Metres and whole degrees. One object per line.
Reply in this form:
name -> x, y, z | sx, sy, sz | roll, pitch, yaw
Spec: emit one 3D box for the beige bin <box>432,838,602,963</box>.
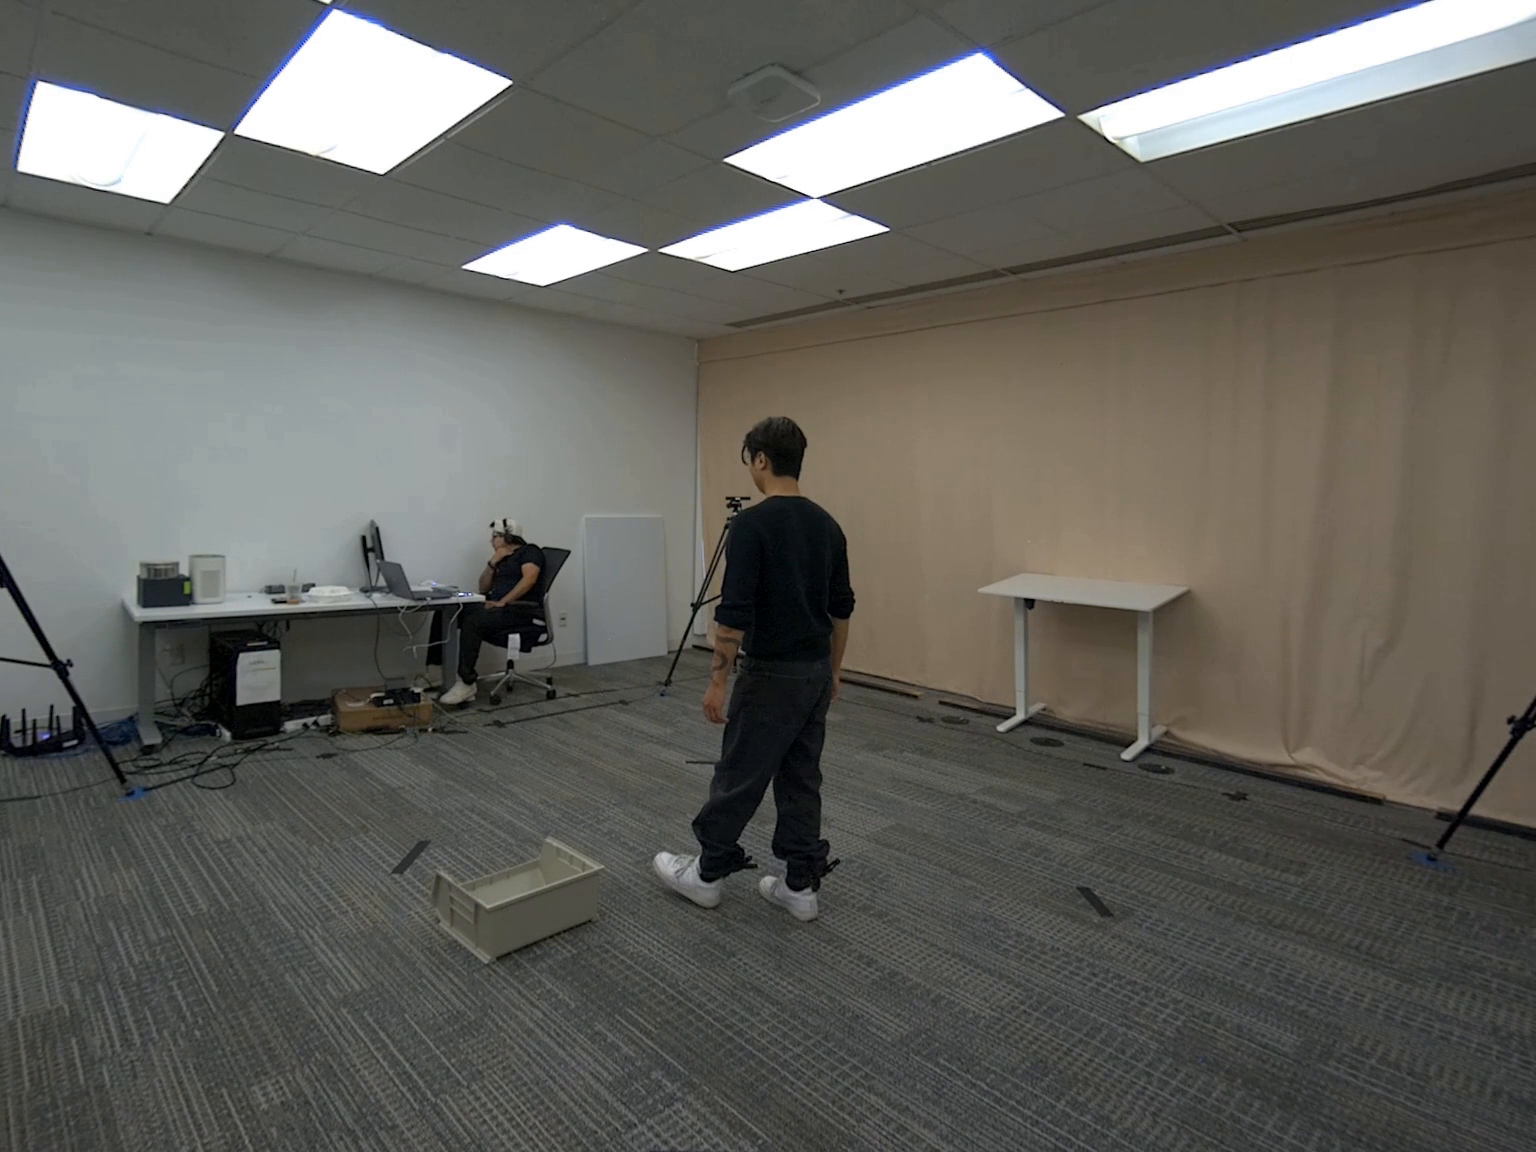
beige bin -> -0.823, 1.039, 2.743 | 0.387, 0.188, 0.412 | 6, 6, 43
